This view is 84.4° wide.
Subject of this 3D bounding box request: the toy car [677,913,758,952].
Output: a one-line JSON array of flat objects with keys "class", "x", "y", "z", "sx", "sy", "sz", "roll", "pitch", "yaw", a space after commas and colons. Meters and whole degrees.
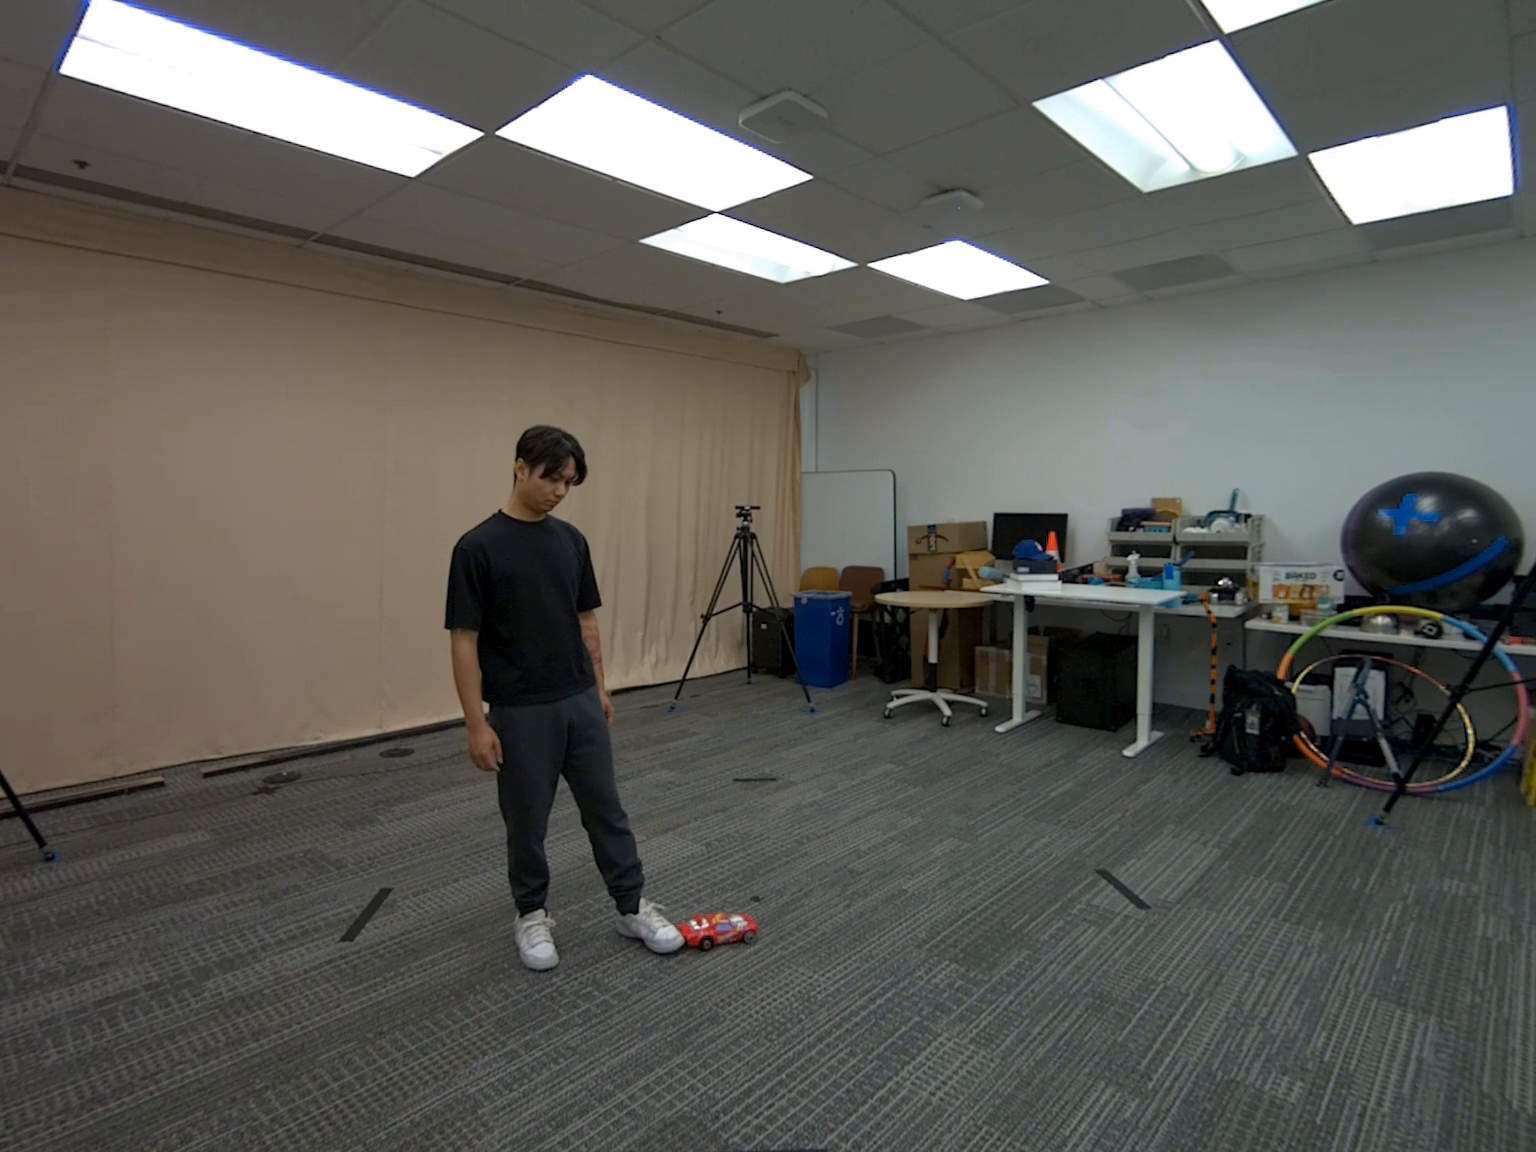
[{"class": "toy car", "x": -0.166, "y": 1.138, "z": 2.691, "sx": 0.249, "sy": 0.083, "sz": 0.133, "roll": 11, "pitch": 1, "yaw": -19}]
